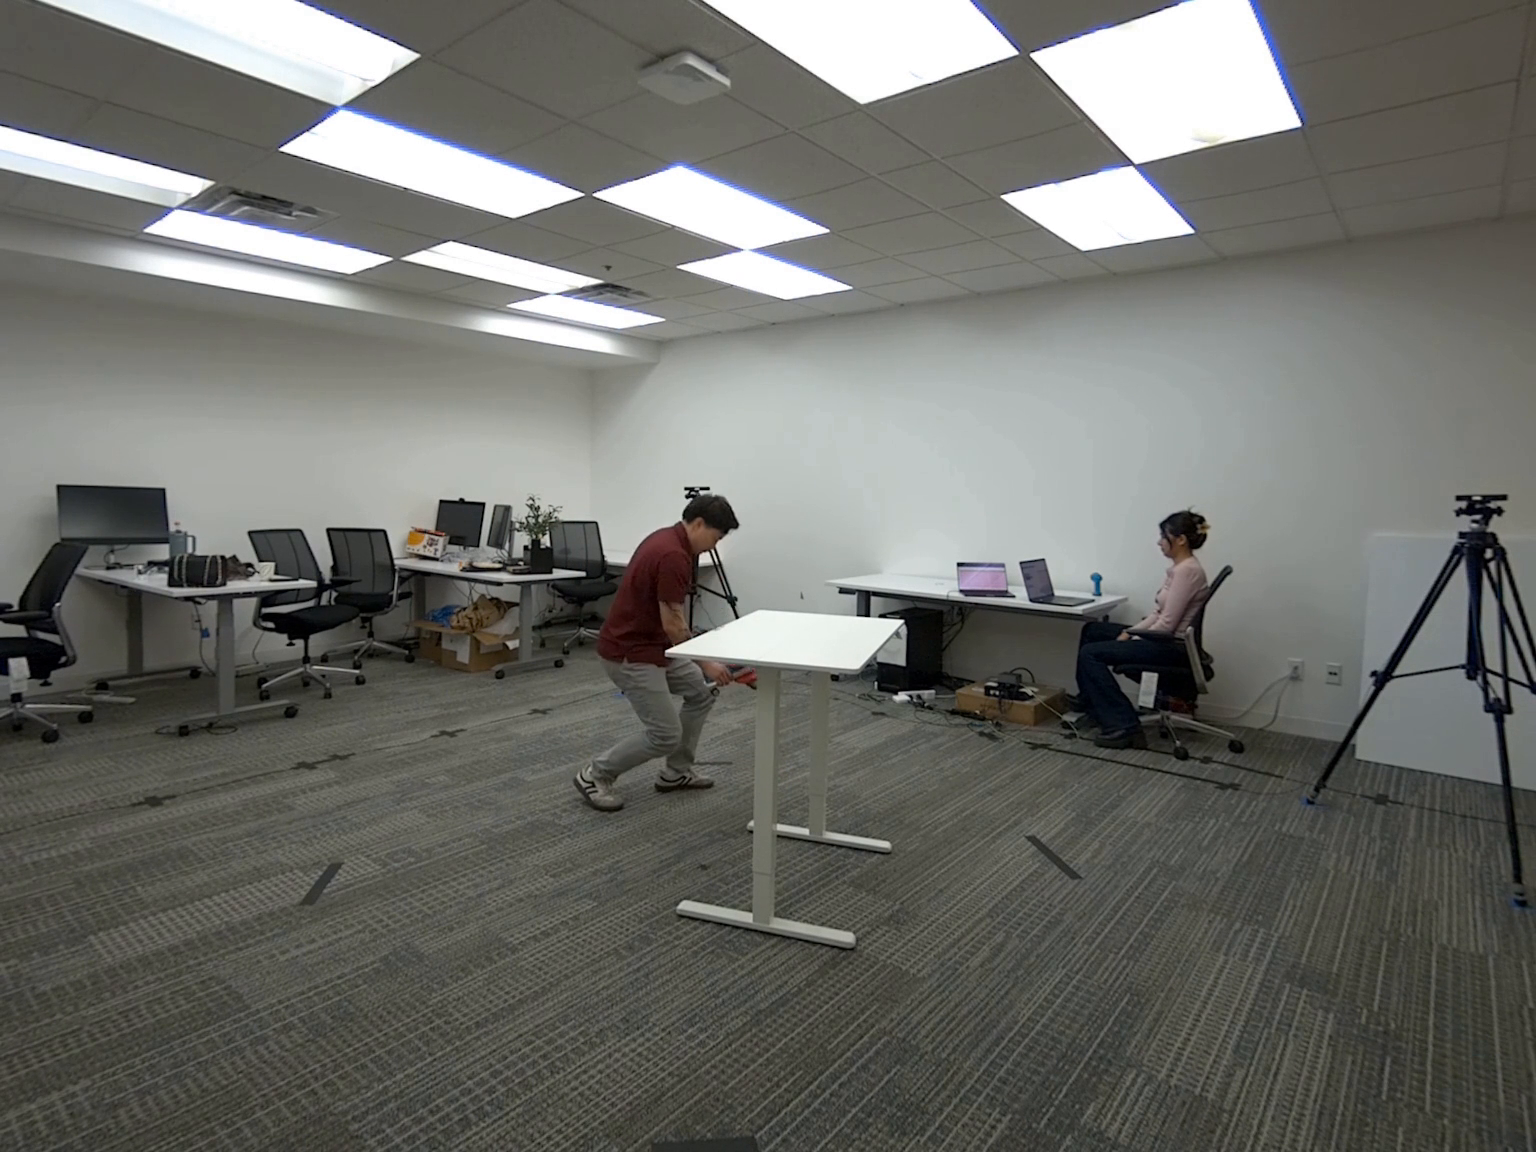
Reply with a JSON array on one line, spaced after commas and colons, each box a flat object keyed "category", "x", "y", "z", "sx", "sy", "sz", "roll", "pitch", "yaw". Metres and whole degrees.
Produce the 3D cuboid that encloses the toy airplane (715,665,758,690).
[{"category": "toy airplane", "x": -0.162, "y": 0.430, "z": 3.736, "sx": 0.252, "sy": 0.156, "sz": 0.258, "roll": -10, "pitch": 3, "yaw": -39}]
